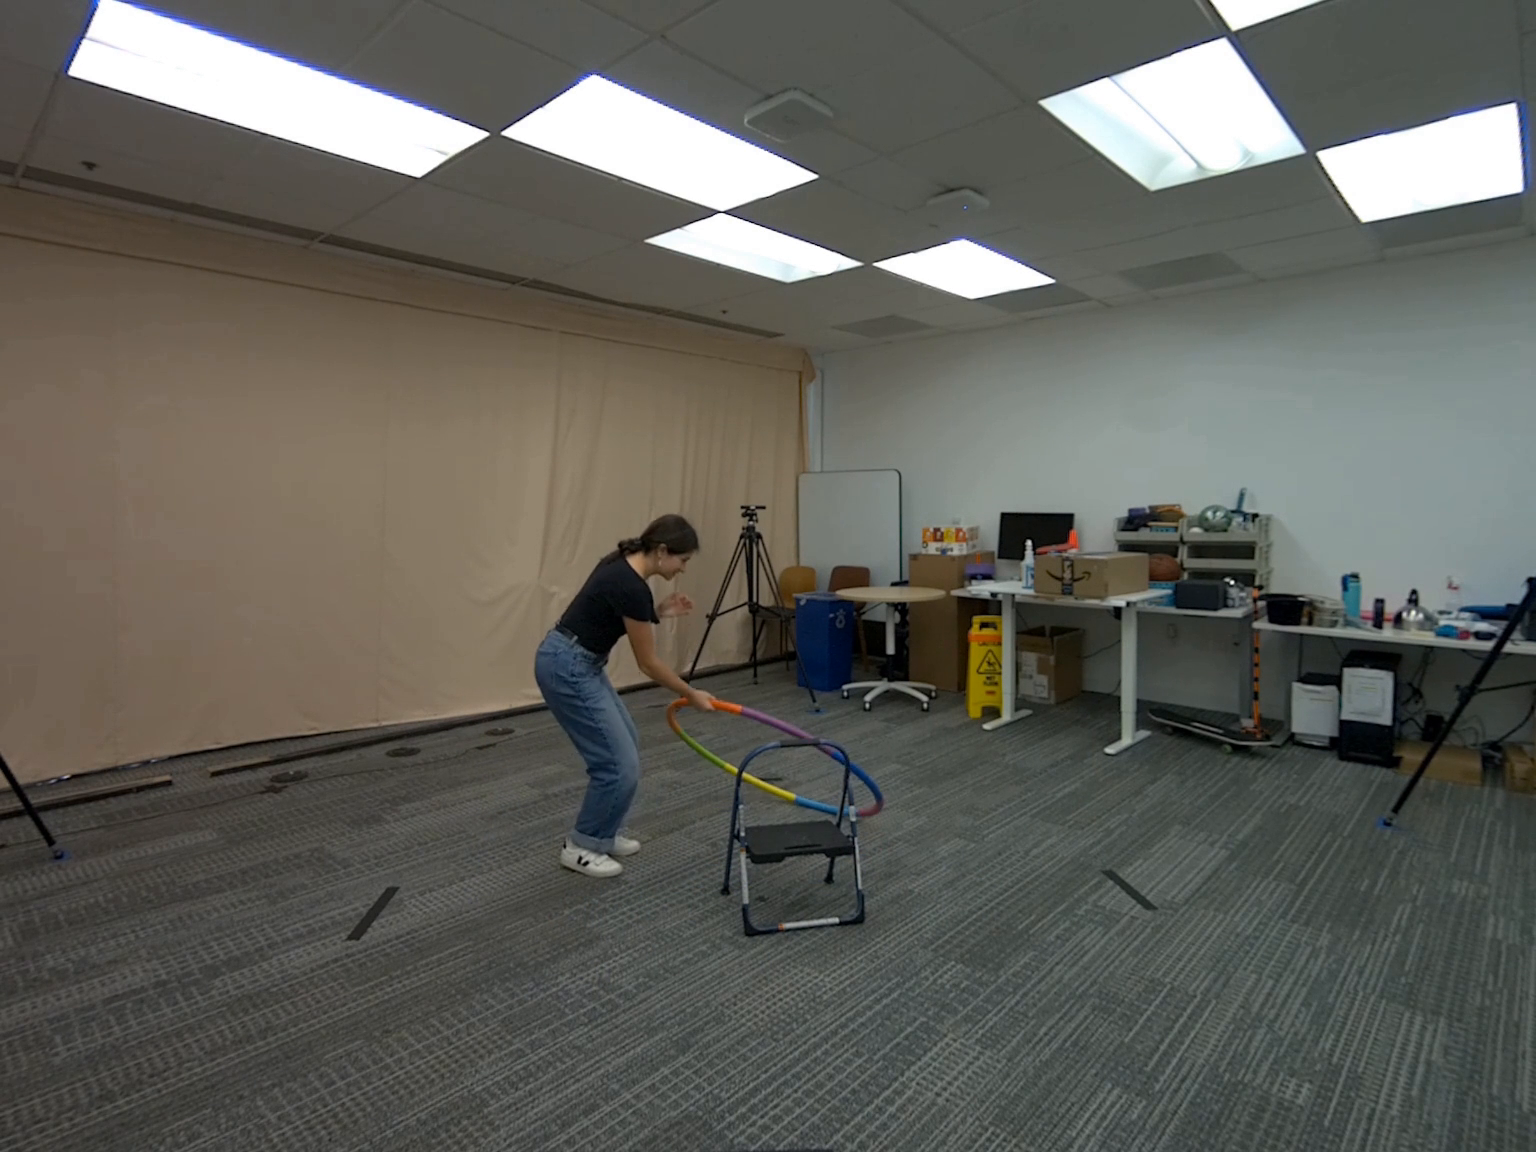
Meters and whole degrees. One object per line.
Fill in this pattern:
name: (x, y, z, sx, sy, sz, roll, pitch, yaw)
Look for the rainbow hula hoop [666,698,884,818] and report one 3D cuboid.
rainbow hula hoop: (0.012, 0.782, 3.561, 0.992, 0.035, 0.964, 22, -27, 10)
